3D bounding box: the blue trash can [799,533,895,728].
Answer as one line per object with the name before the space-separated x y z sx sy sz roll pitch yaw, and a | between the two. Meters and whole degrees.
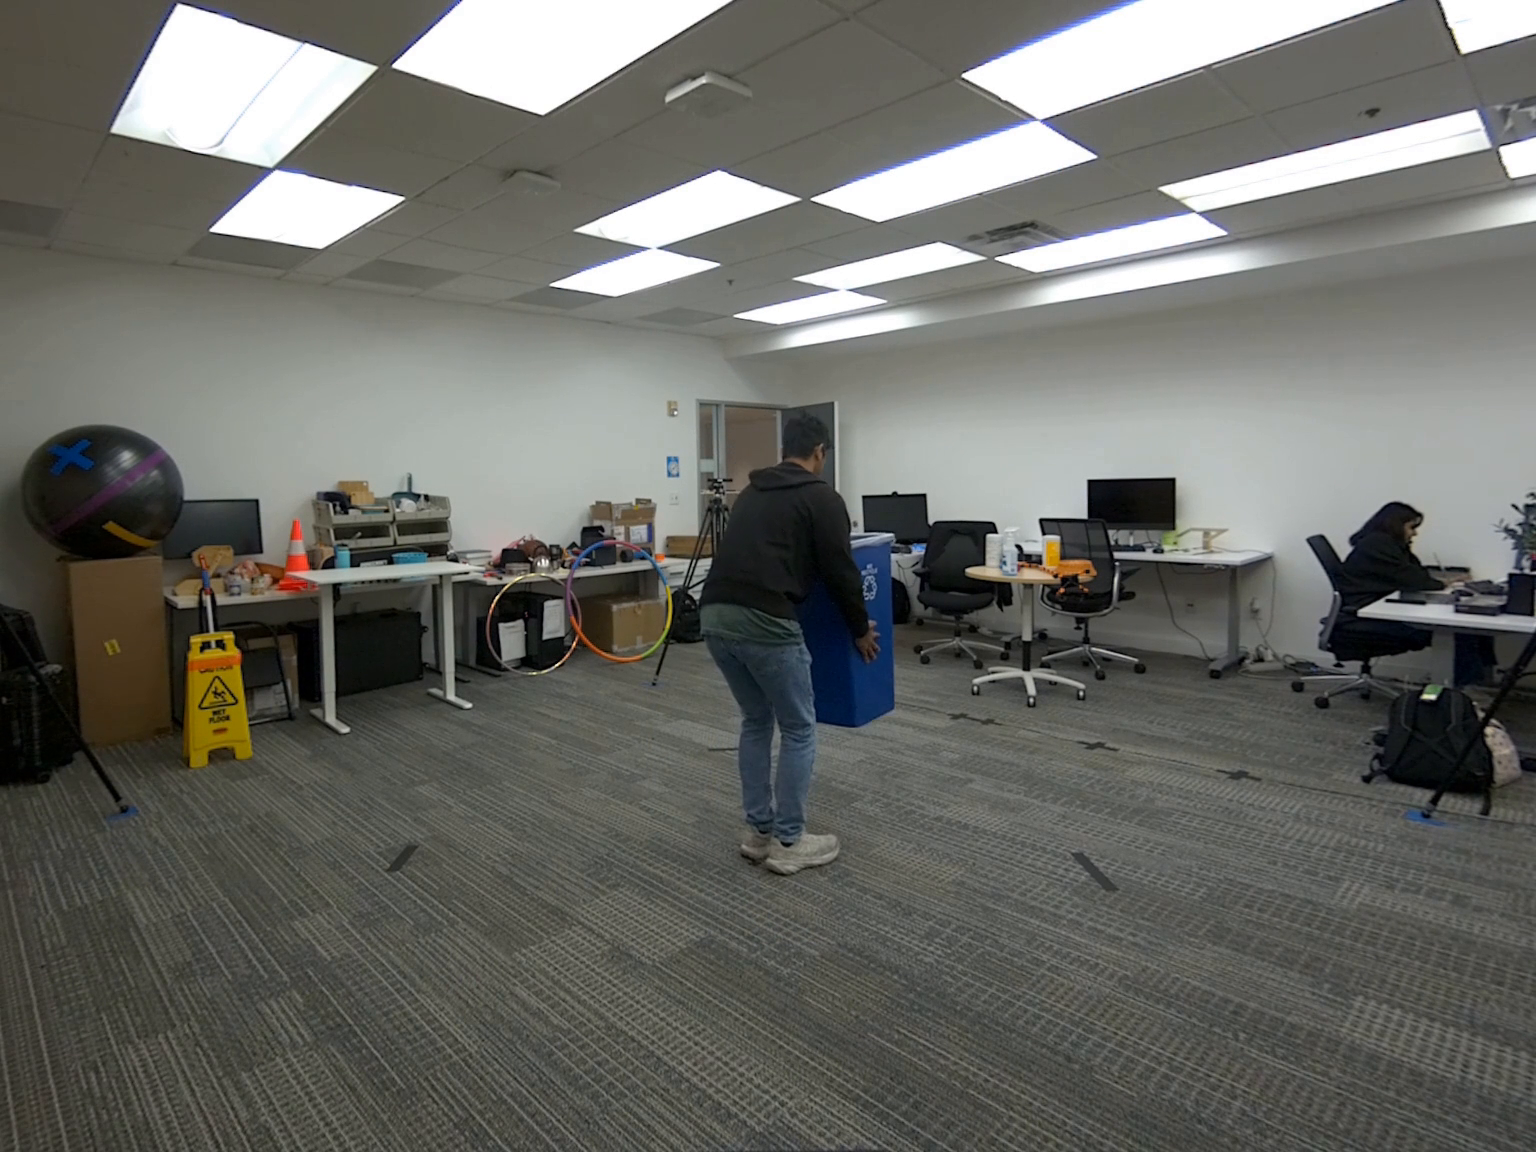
blue trash can | 0.294 0.207 3.438 0.389 0.710 0.365 2 7 40
